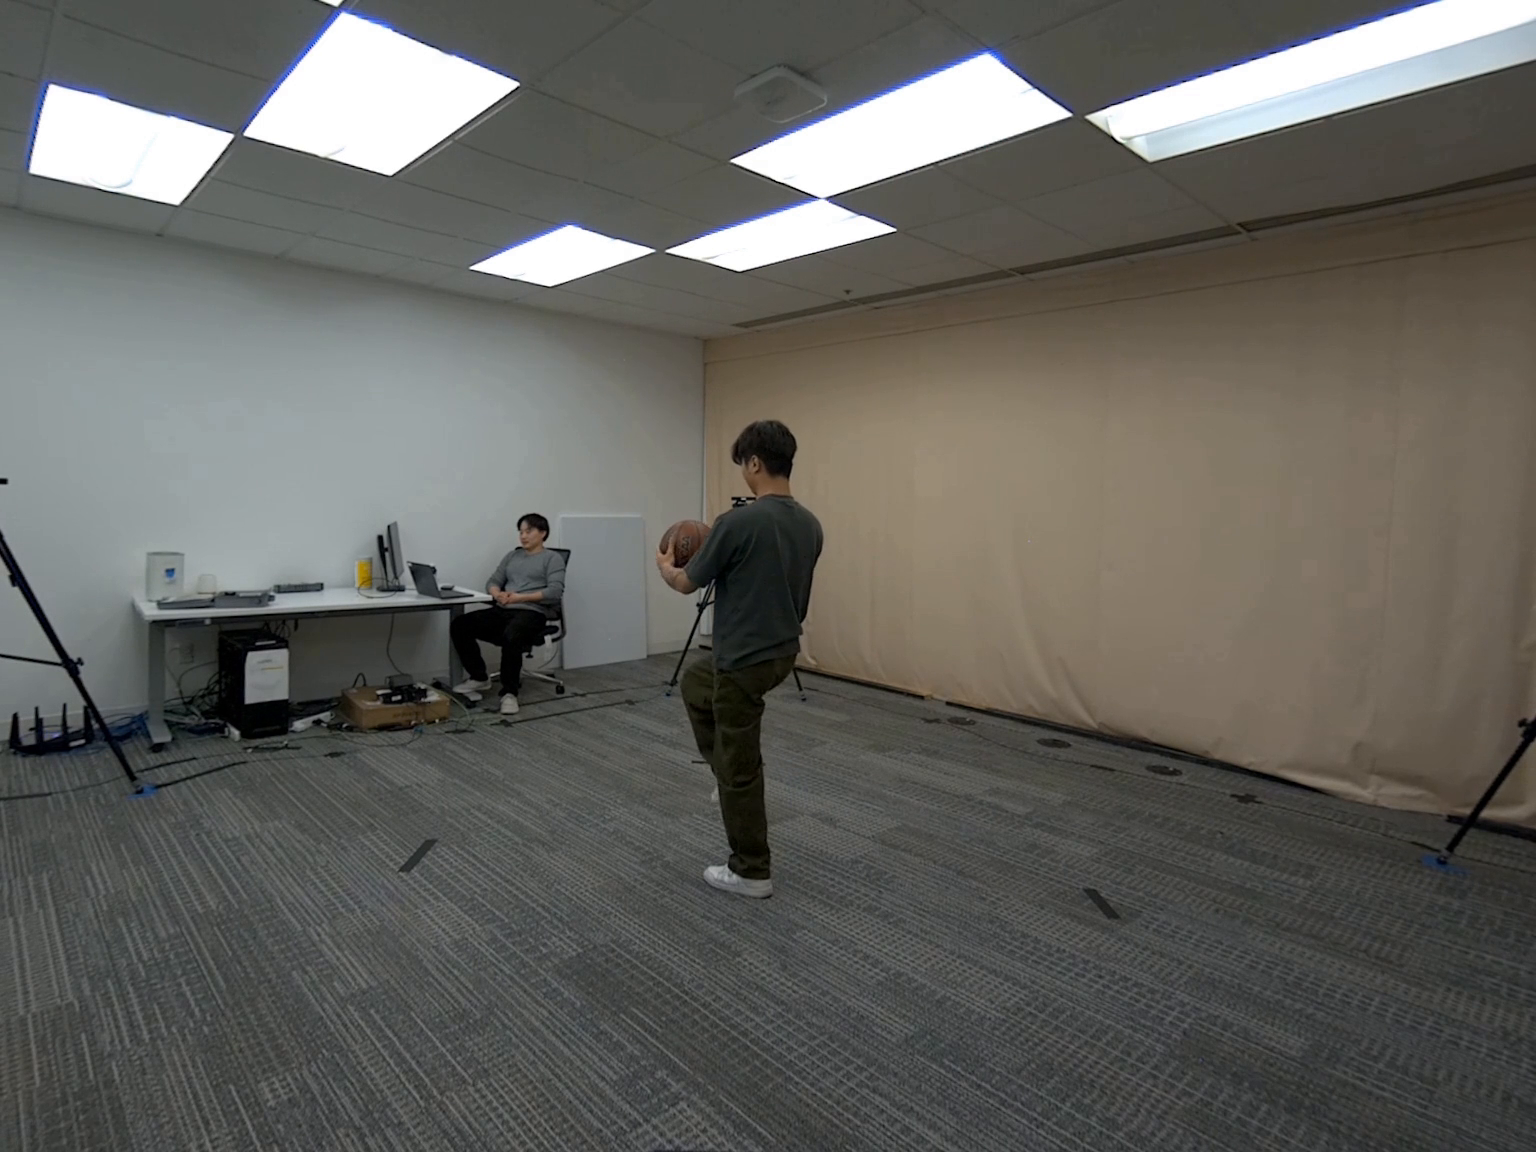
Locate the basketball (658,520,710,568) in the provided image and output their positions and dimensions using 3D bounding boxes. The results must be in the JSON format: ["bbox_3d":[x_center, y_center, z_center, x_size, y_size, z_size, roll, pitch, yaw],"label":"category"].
[{"bbox_3d":[-0.306,-0.083,3.276,0.236,0.235,0.237,1,4,-1],"label":"basketball"}]
